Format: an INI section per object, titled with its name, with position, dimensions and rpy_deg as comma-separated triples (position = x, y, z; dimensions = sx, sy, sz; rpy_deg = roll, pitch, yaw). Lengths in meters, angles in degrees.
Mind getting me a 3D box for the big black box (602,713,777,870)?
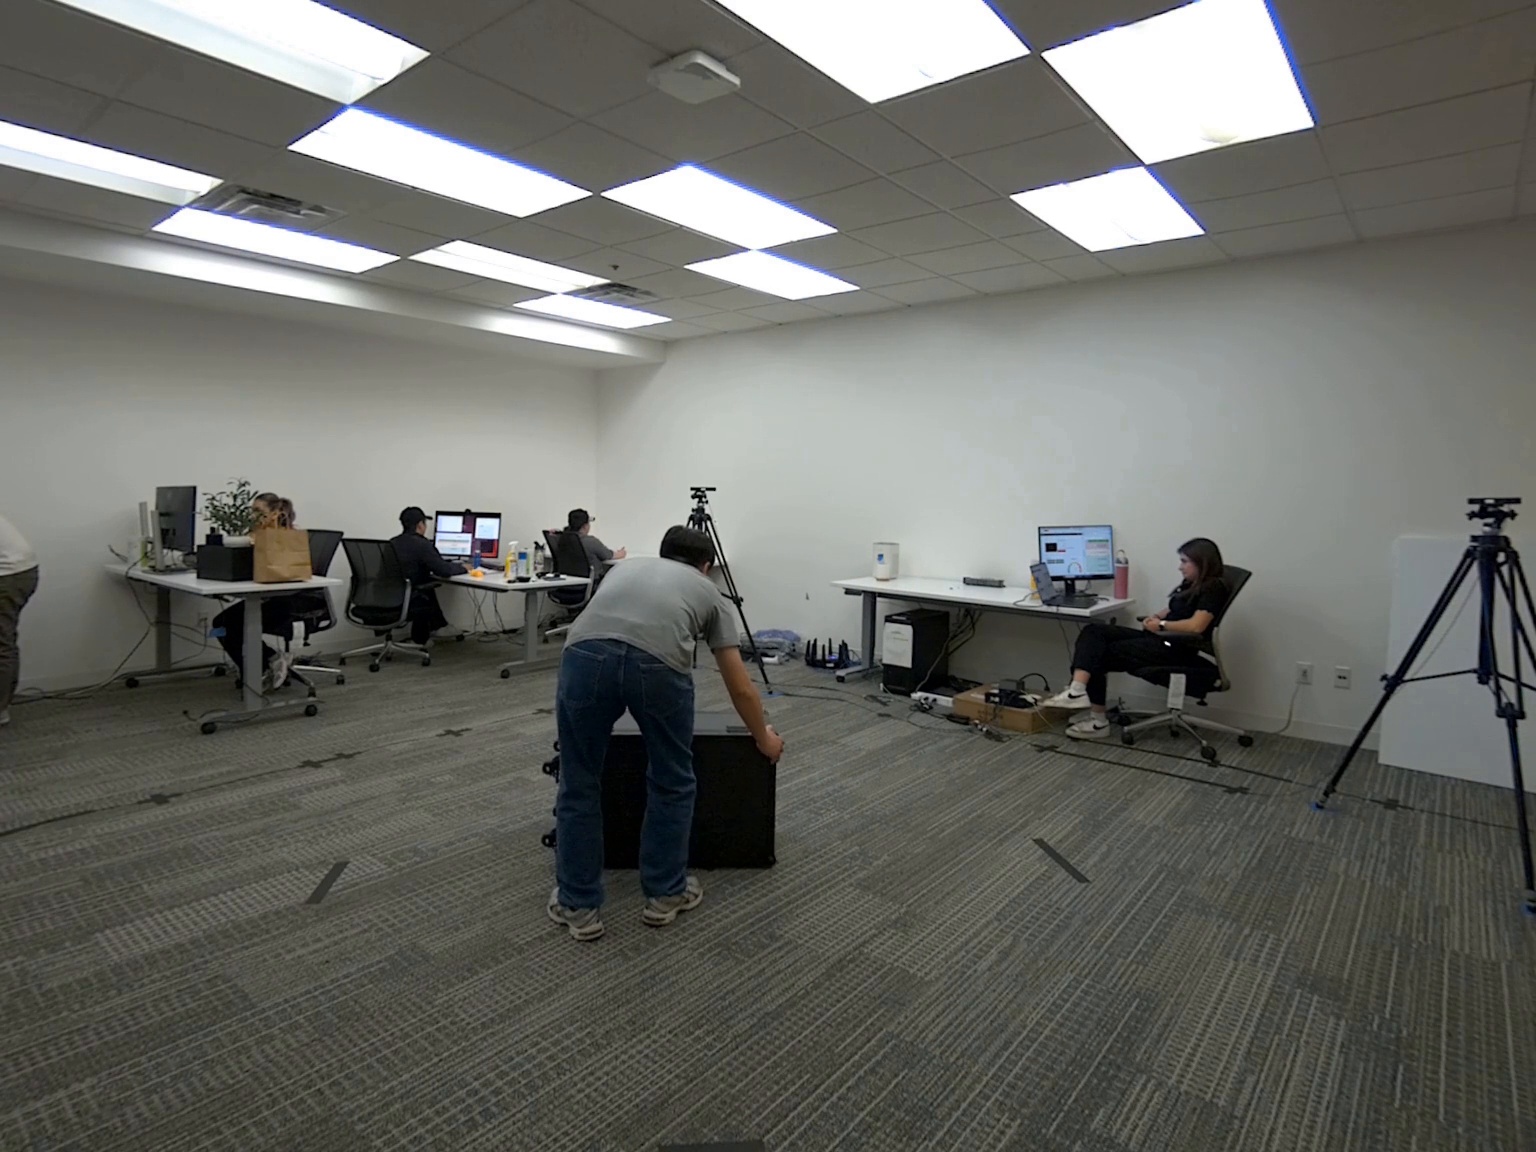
[big black box]
position = -0.420, 0.784, 3.261
dimensions = 0.859, 0.519, 0.399
rpy_deg = 0, 4, -3
